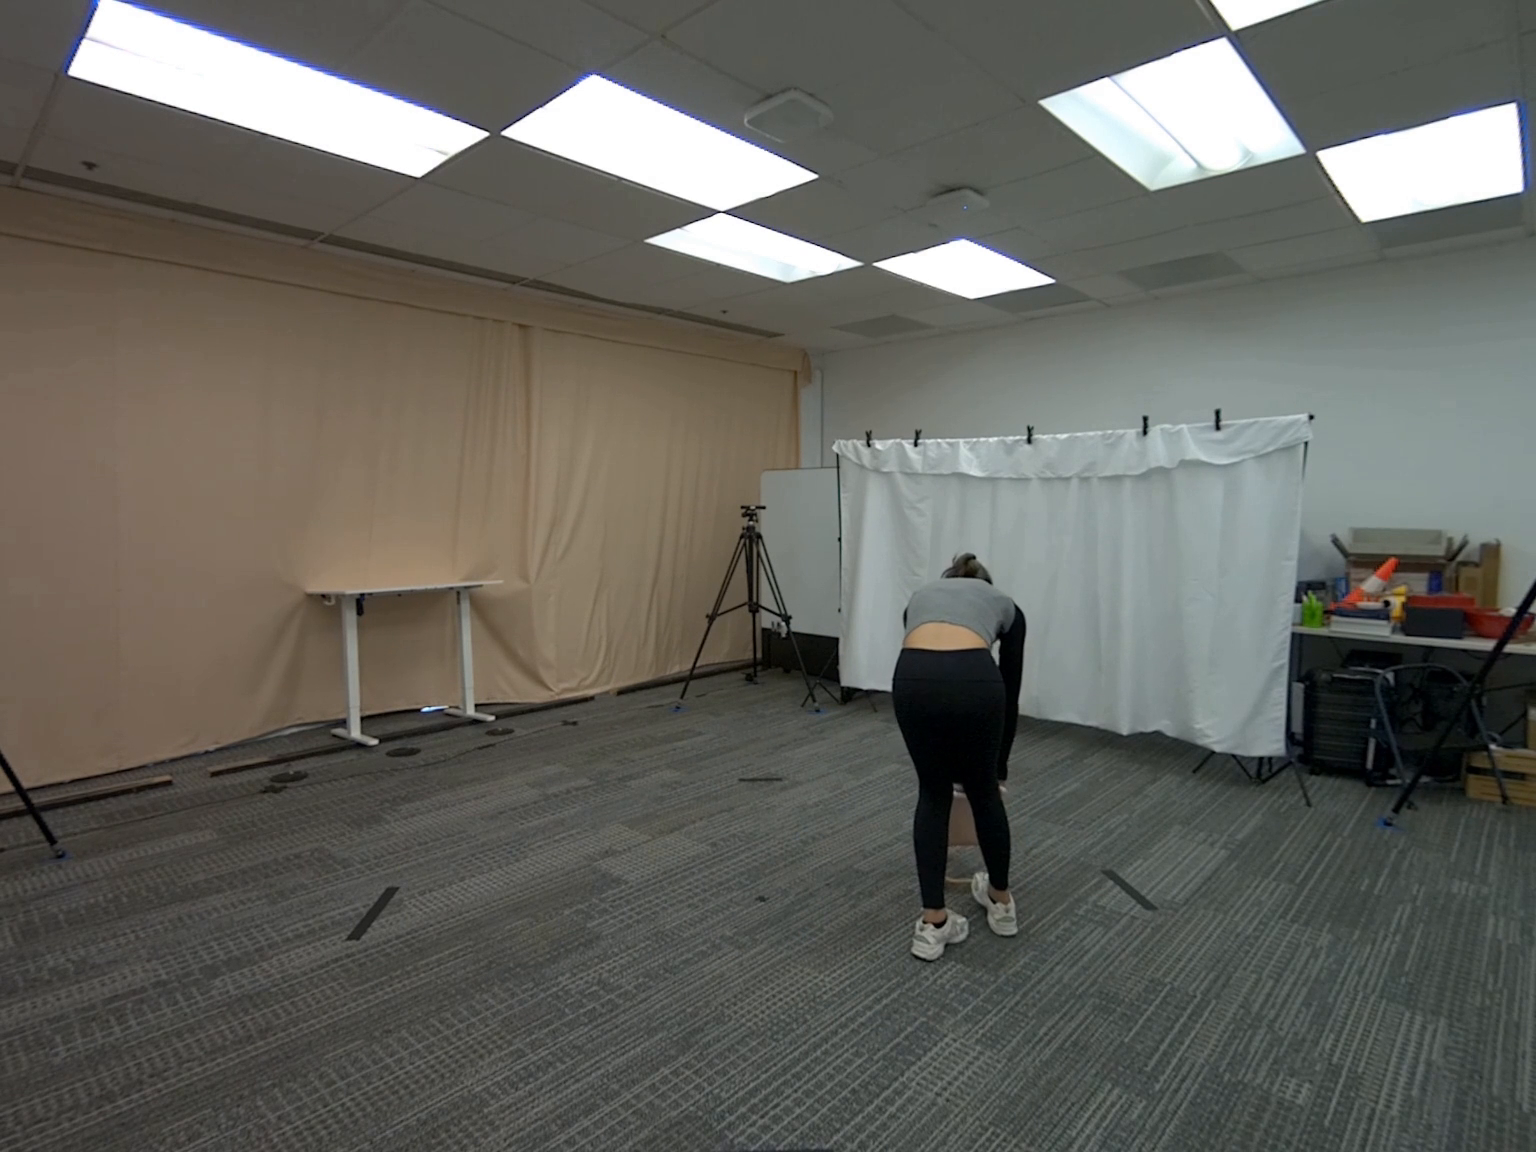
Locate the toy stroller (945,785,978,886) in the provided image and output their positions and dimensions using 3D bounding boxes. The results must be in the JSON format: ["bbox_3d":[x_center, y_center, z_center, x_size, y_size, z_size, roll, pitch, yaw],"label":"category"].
[{"bbox_3d":[0.725,0.906,3.124,0.281,0.529,0.345,1,18,-1],"label":"toy stroller"}]
